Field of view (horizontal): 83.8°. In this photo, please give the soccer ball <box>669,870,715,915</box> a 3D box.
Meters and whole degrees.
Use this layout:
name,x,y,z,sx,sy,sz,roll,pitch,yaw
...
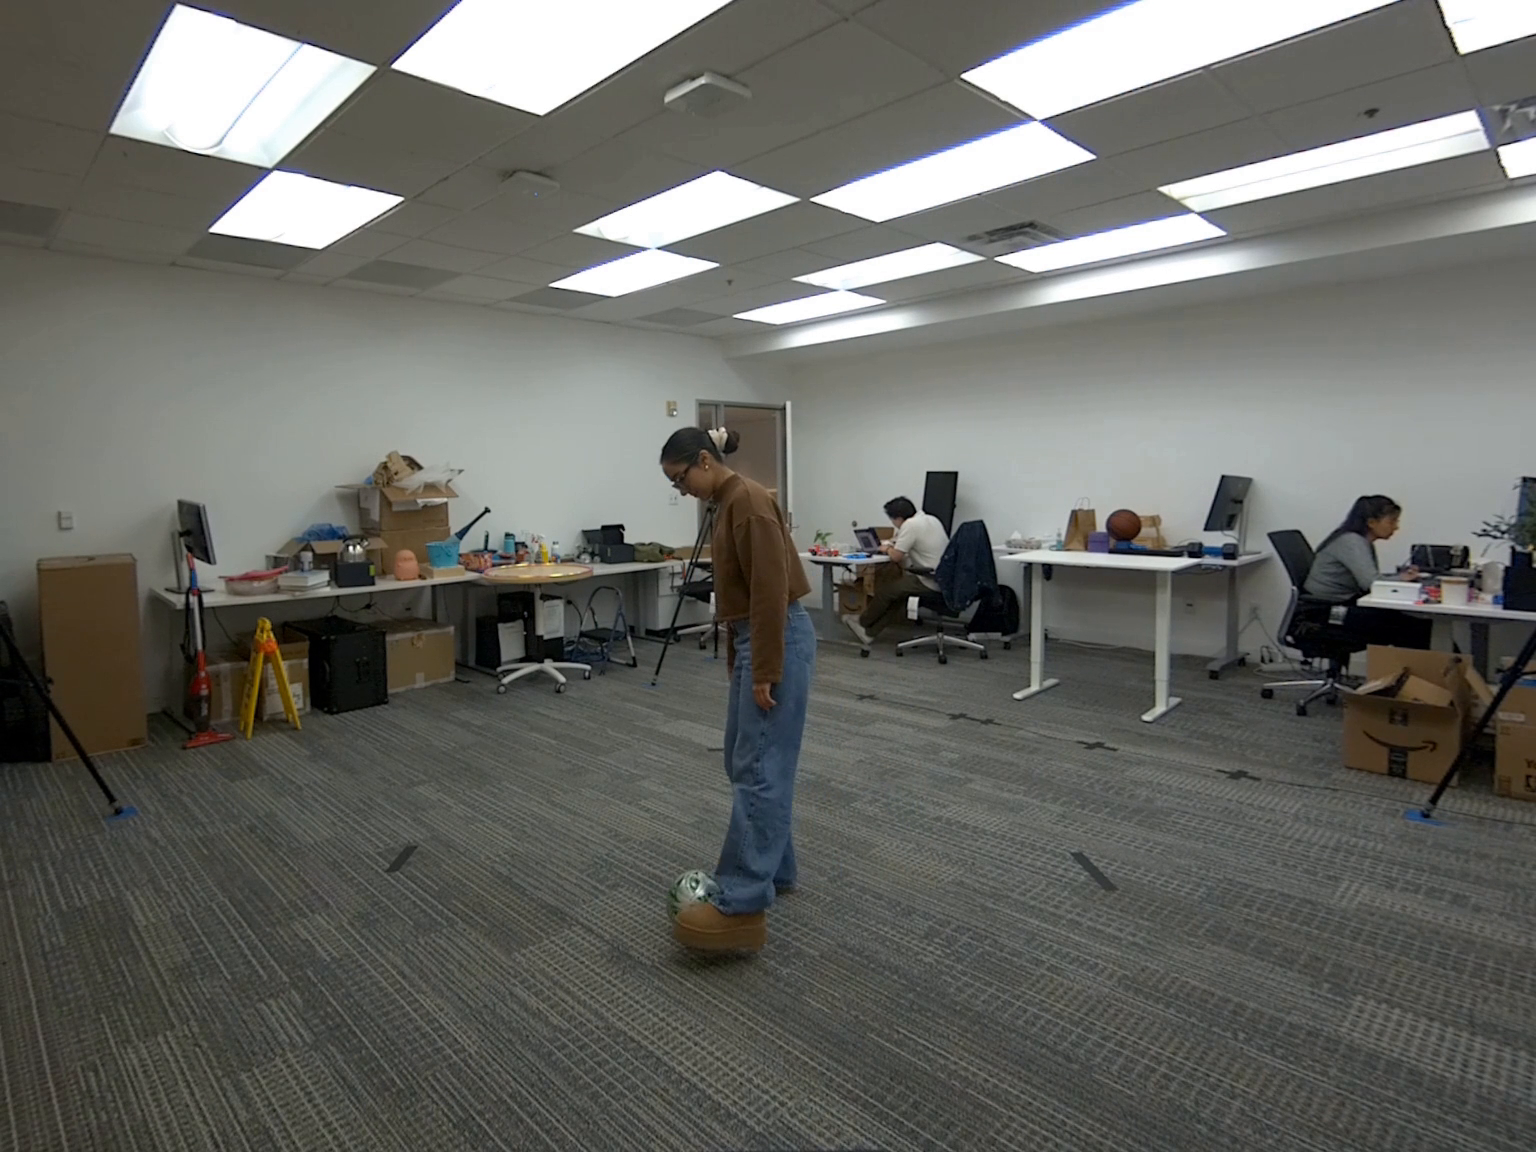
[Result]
name,x,y,z,sx,sy,sz,roll,pitch,yaw
soccer ball,-0.211,1.010,2.636,0.187,0.187,0.188,-1,5,-2
